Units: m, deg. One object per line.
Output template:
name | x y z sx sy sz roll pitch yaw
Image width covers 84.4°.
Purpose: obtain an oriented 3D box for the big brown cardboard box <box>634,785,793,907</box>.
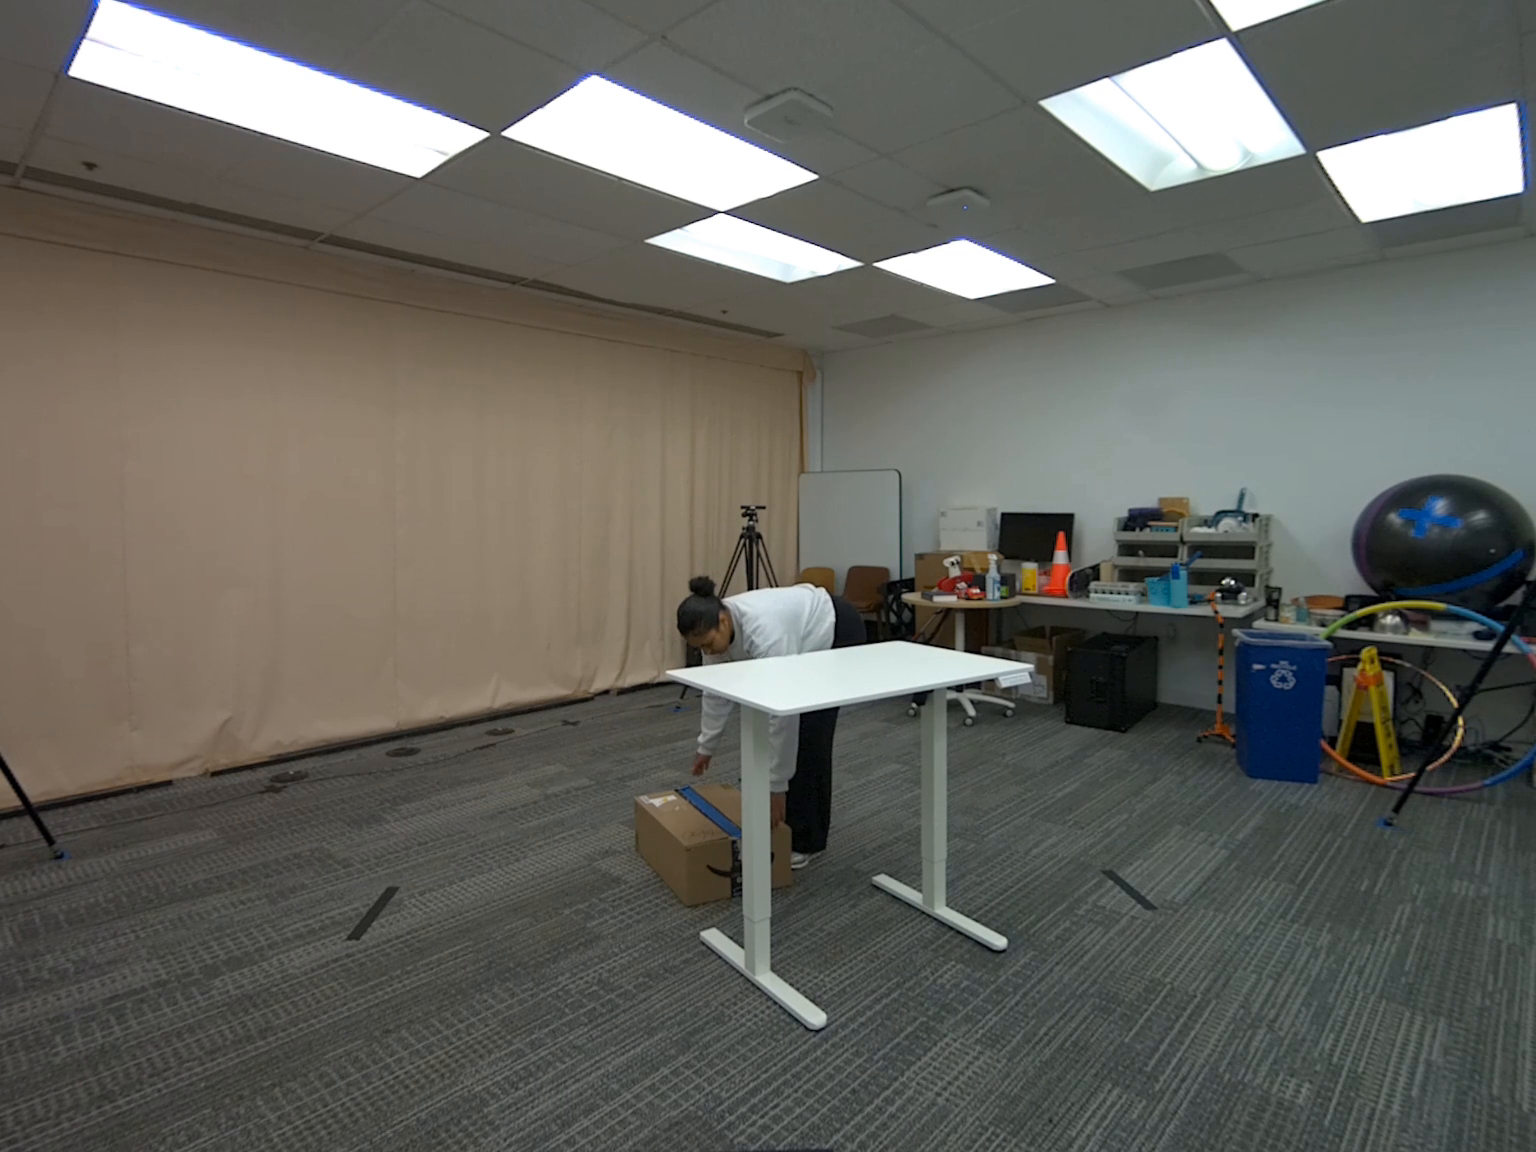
big brown cardboard box | -0.230 1.011 3.250 0.407 0.232 0.605 -3 6 -26
